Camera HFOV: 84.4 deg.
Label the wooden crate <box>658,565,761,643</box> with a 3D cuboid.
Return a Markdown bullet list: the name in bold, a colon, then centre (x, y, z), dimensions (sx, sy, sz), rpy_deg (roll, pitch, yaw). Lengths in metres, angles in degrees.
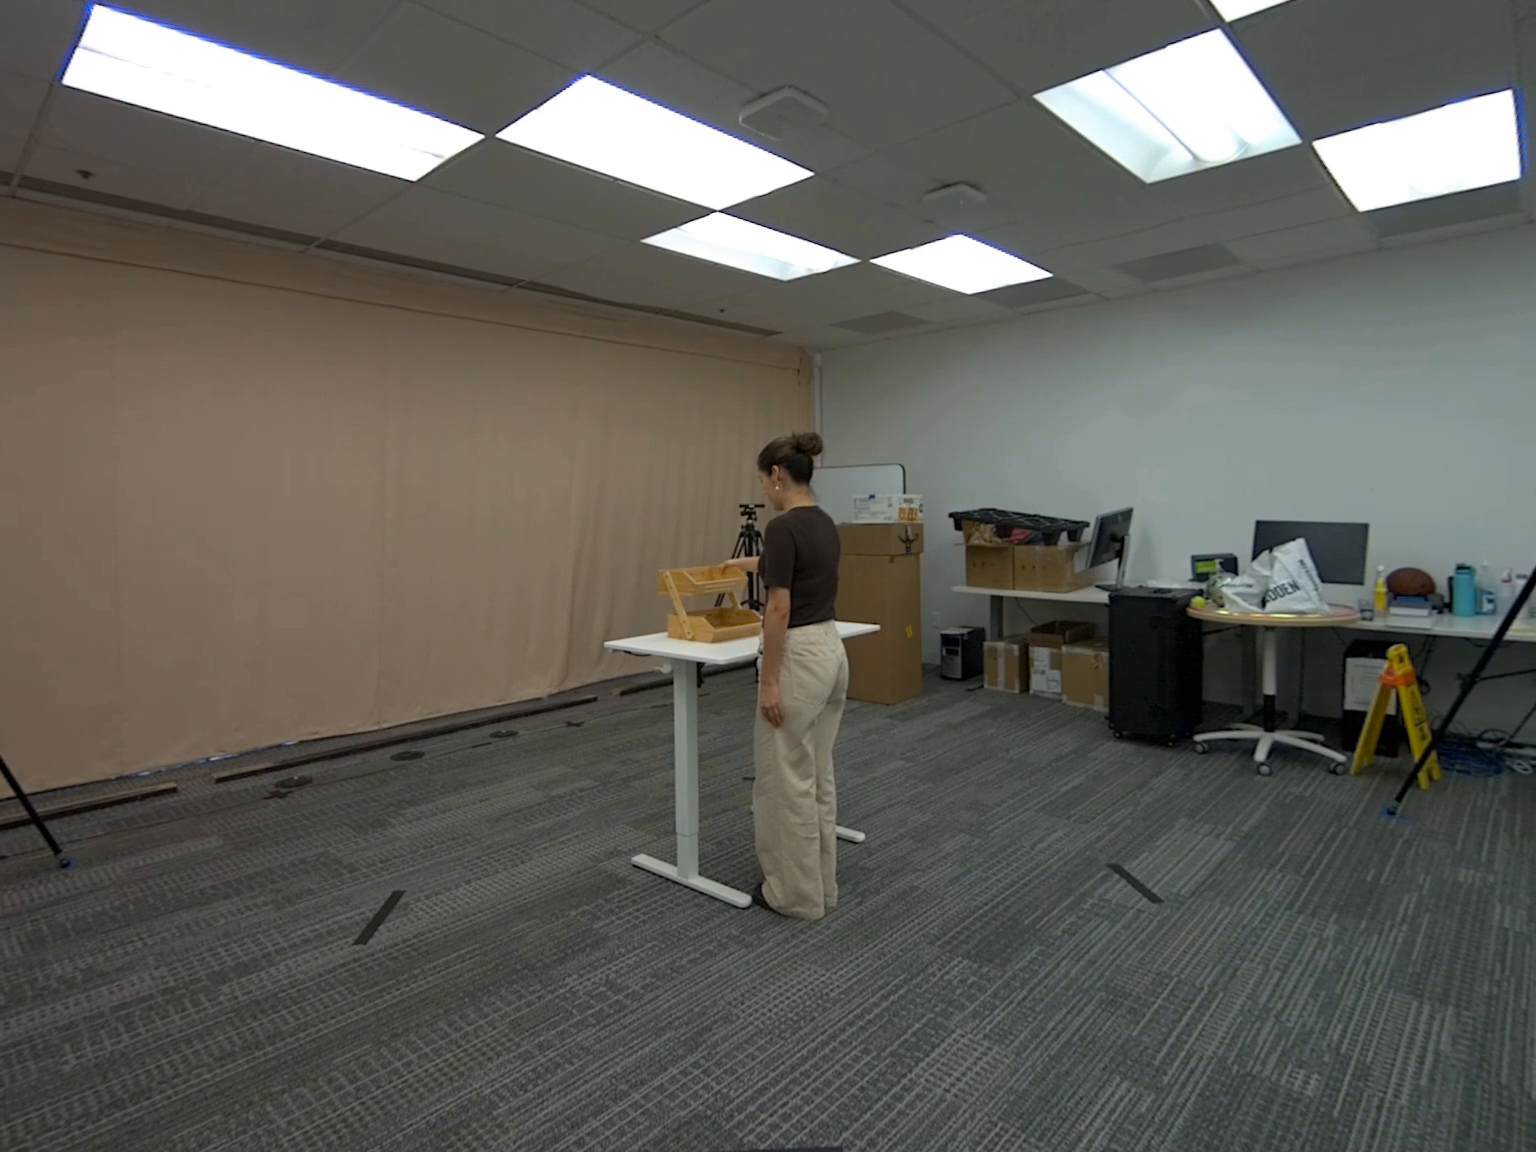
- **wooden crate**: centre (-0.219, 0.102, 3.299), dimensions (0.312, 0.273, 0.314), rpy_deg (1, 3, 41)
